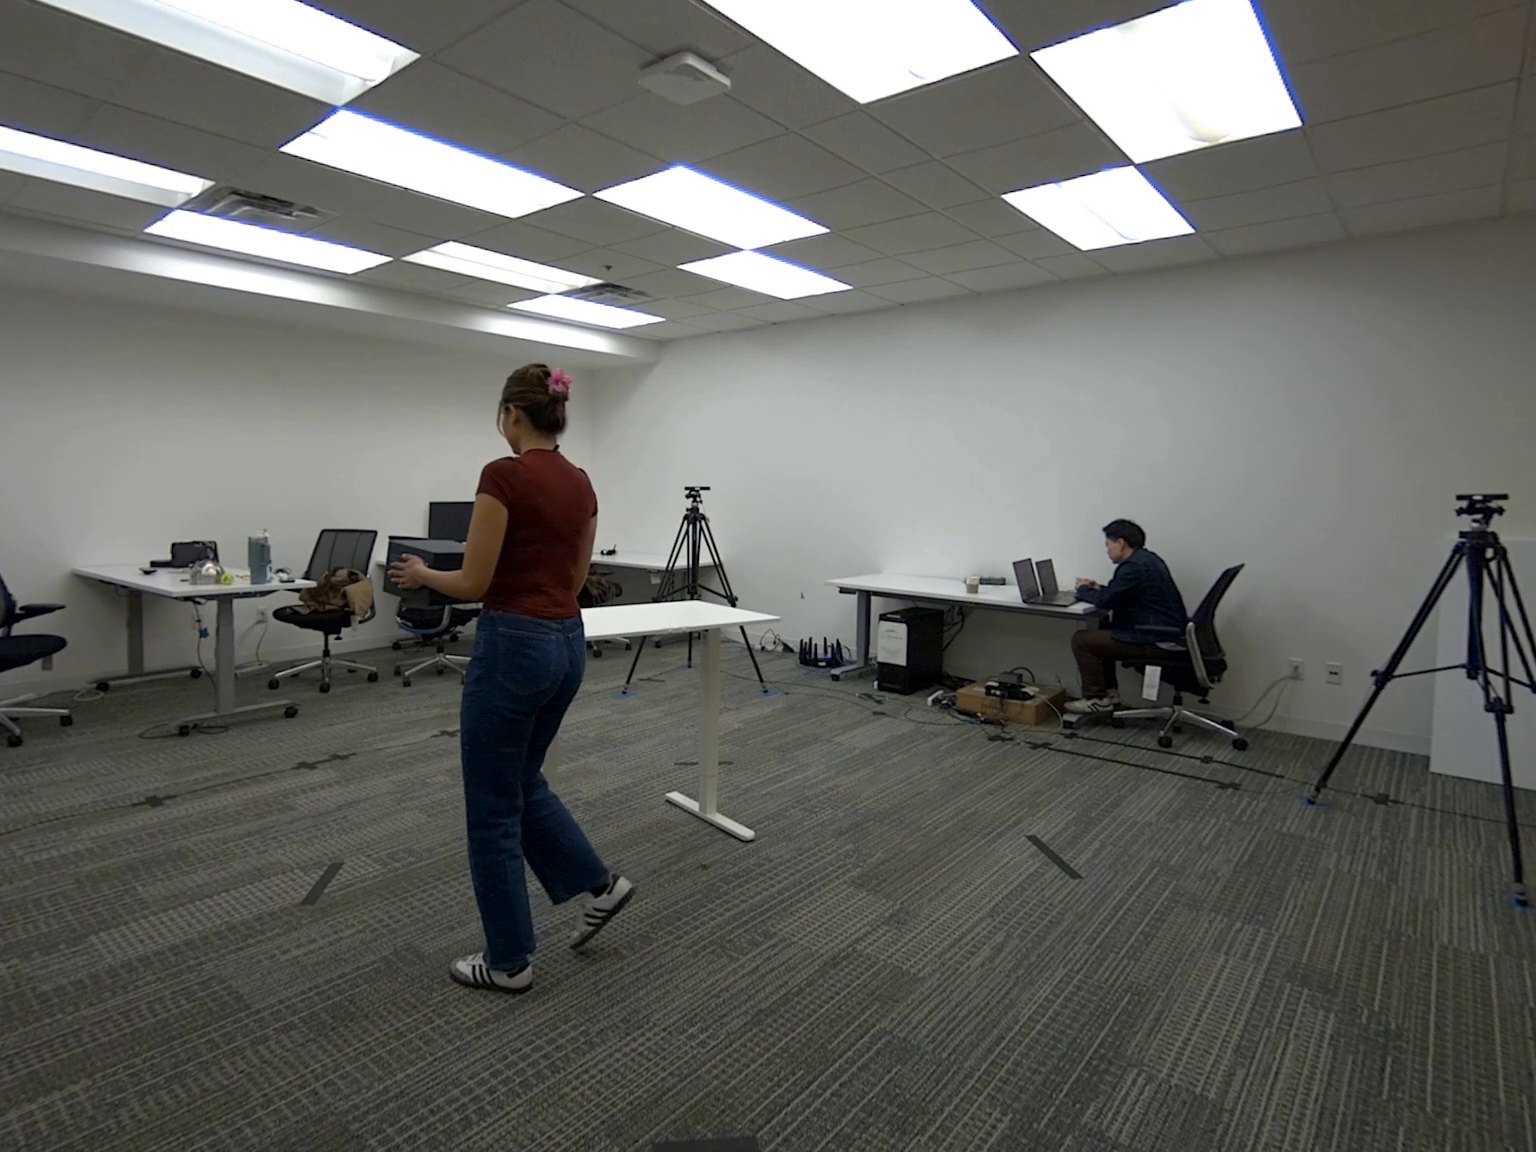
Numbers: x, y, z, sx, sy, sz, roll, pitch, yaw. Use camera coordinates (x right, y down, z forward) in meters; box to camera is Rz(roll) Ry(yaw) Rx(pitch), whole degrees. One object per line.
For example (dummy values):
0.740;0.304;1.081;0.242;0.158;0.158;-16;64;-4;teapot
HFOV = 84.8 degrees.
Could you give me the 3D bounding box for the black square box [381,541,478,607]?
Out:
-0.997;-0.015;2.535;0.224;0.155;0.221;10;7;34;black square box
